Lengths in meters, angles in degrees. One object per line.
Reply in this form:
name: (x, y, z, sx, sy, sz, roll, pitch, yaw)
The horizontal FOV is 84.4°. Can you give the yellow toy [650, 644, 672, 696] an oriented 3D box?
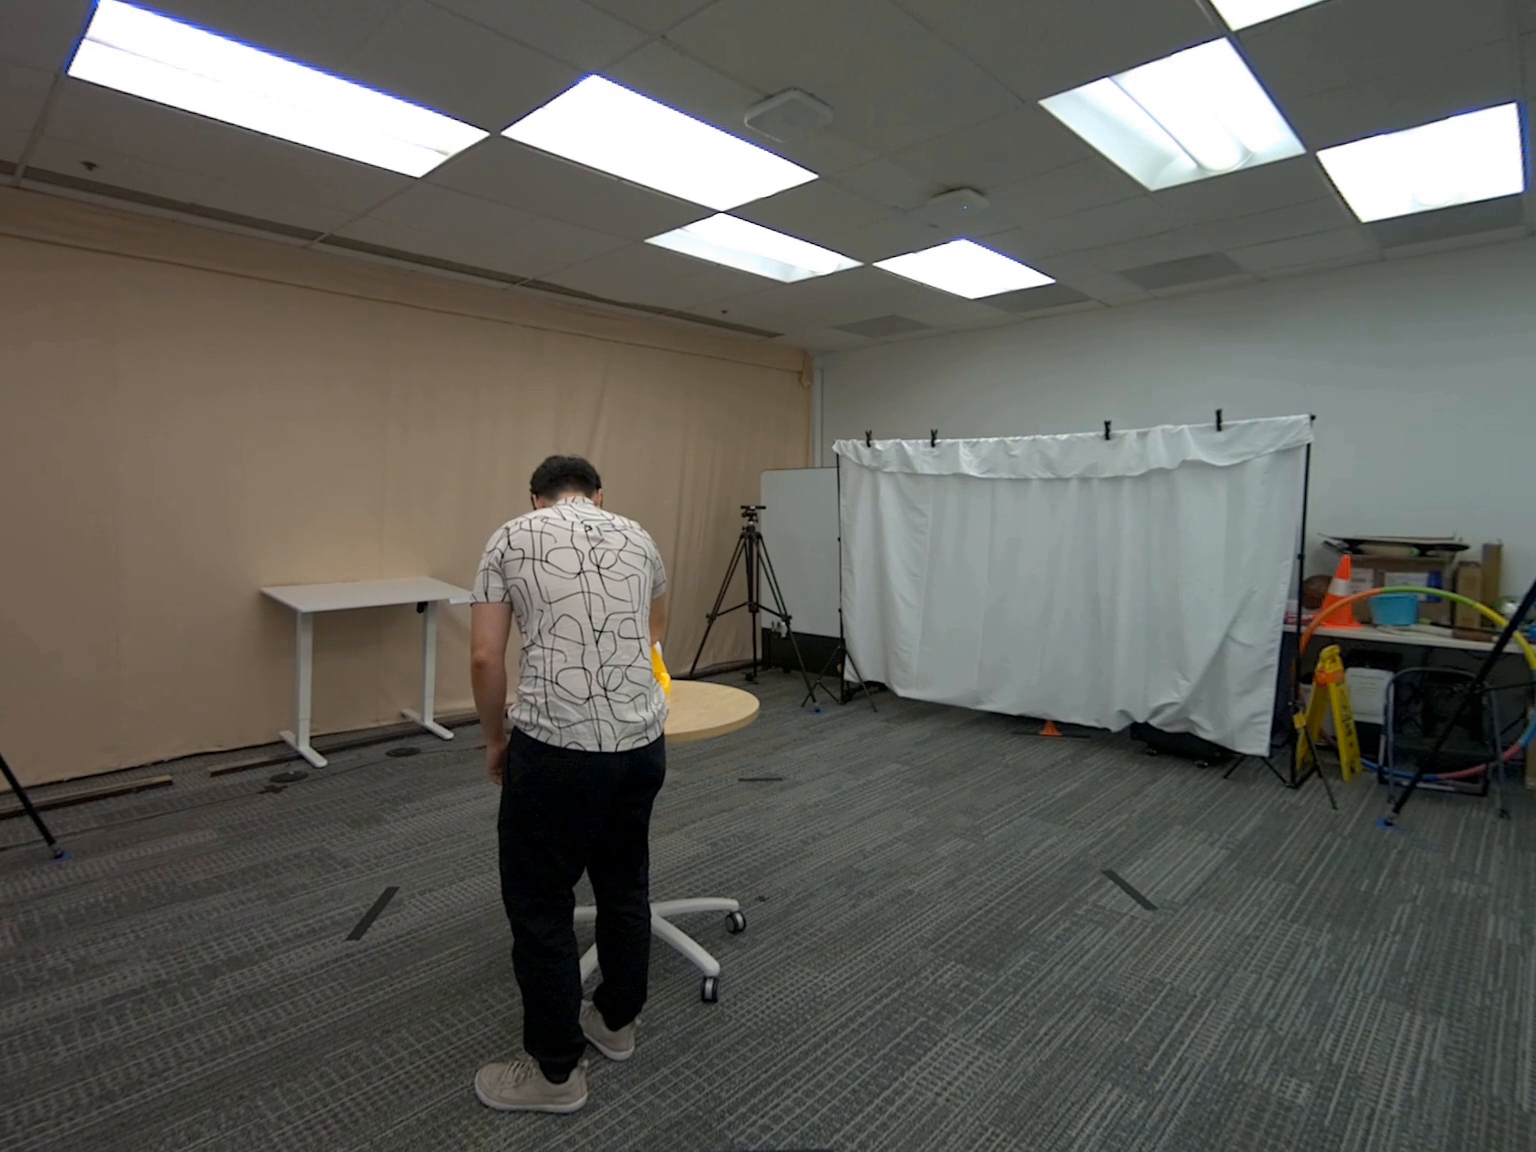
yellow toy: (-0.425, 0.269, 2.789, 0.205, 0.230, 0.193, -1, 4, 2)
